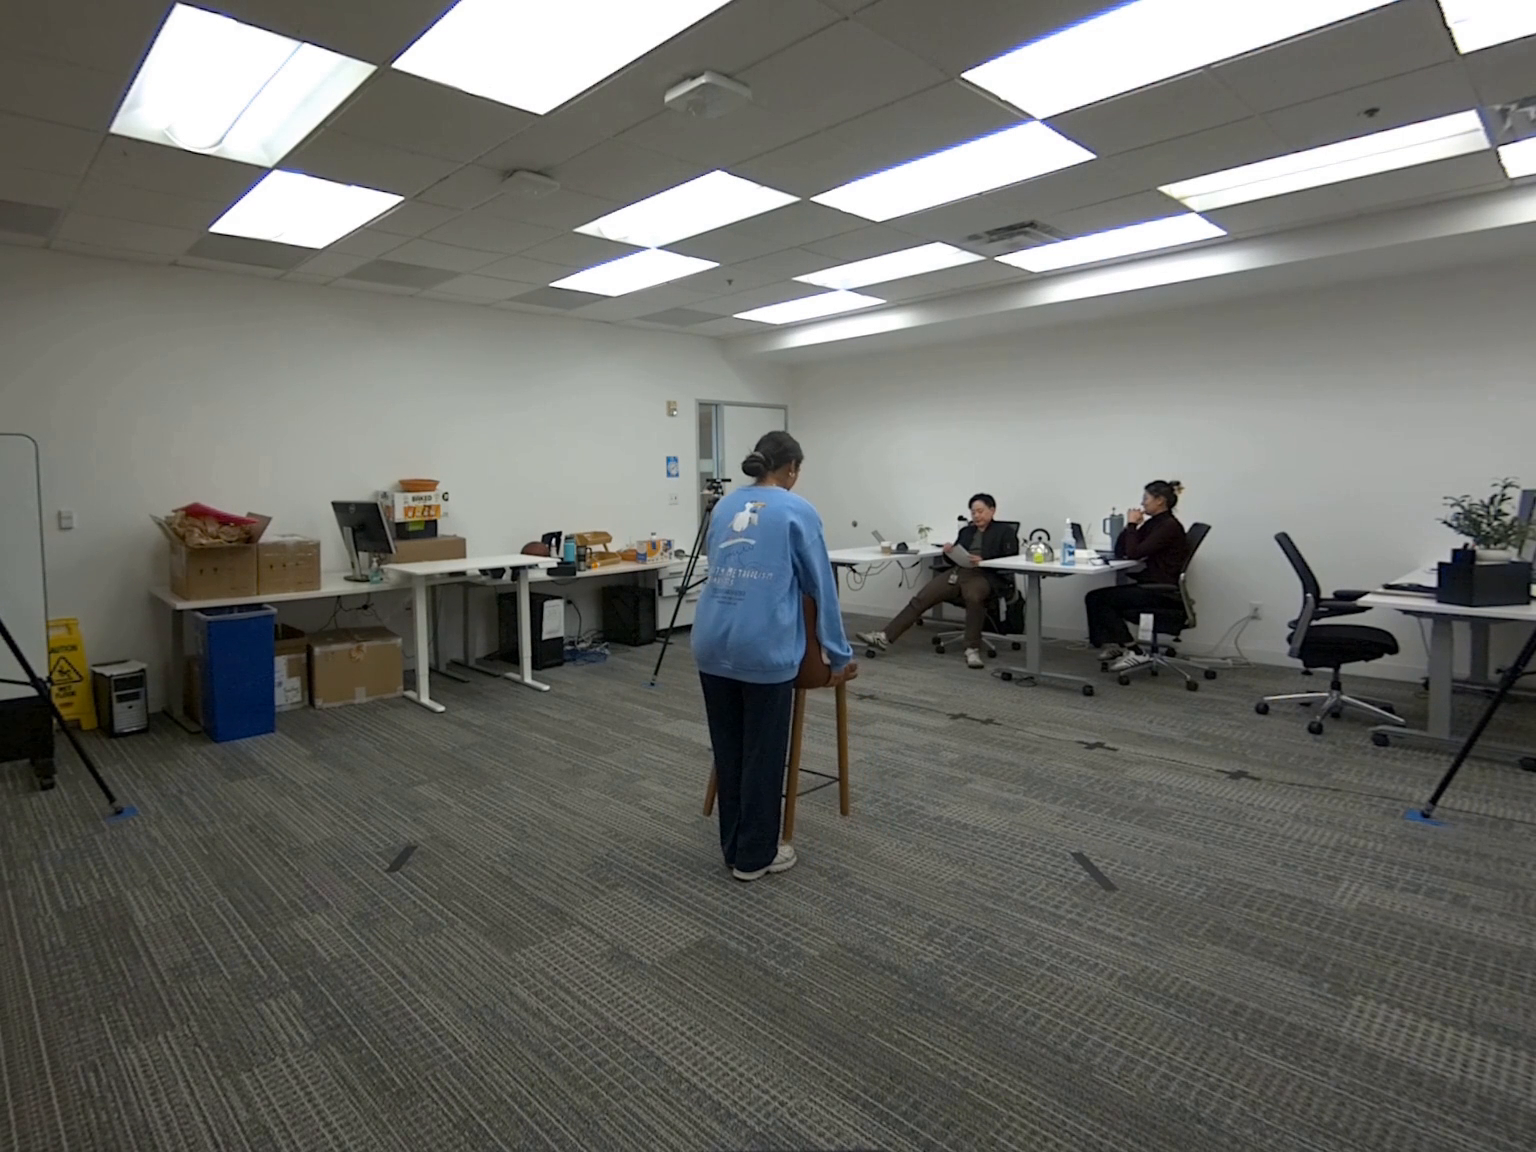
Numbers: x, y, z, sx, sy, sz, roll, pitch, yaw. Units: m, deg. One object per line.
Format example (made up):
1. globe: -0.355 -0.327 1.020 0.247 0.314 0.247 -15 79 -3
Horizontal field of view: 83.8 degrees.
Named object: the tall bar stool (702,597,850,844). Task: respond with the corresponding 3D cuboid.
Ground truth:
1. tall bar stool: 0.063 0.485 3.269 0.470 0.888 0.455 4 2 34
